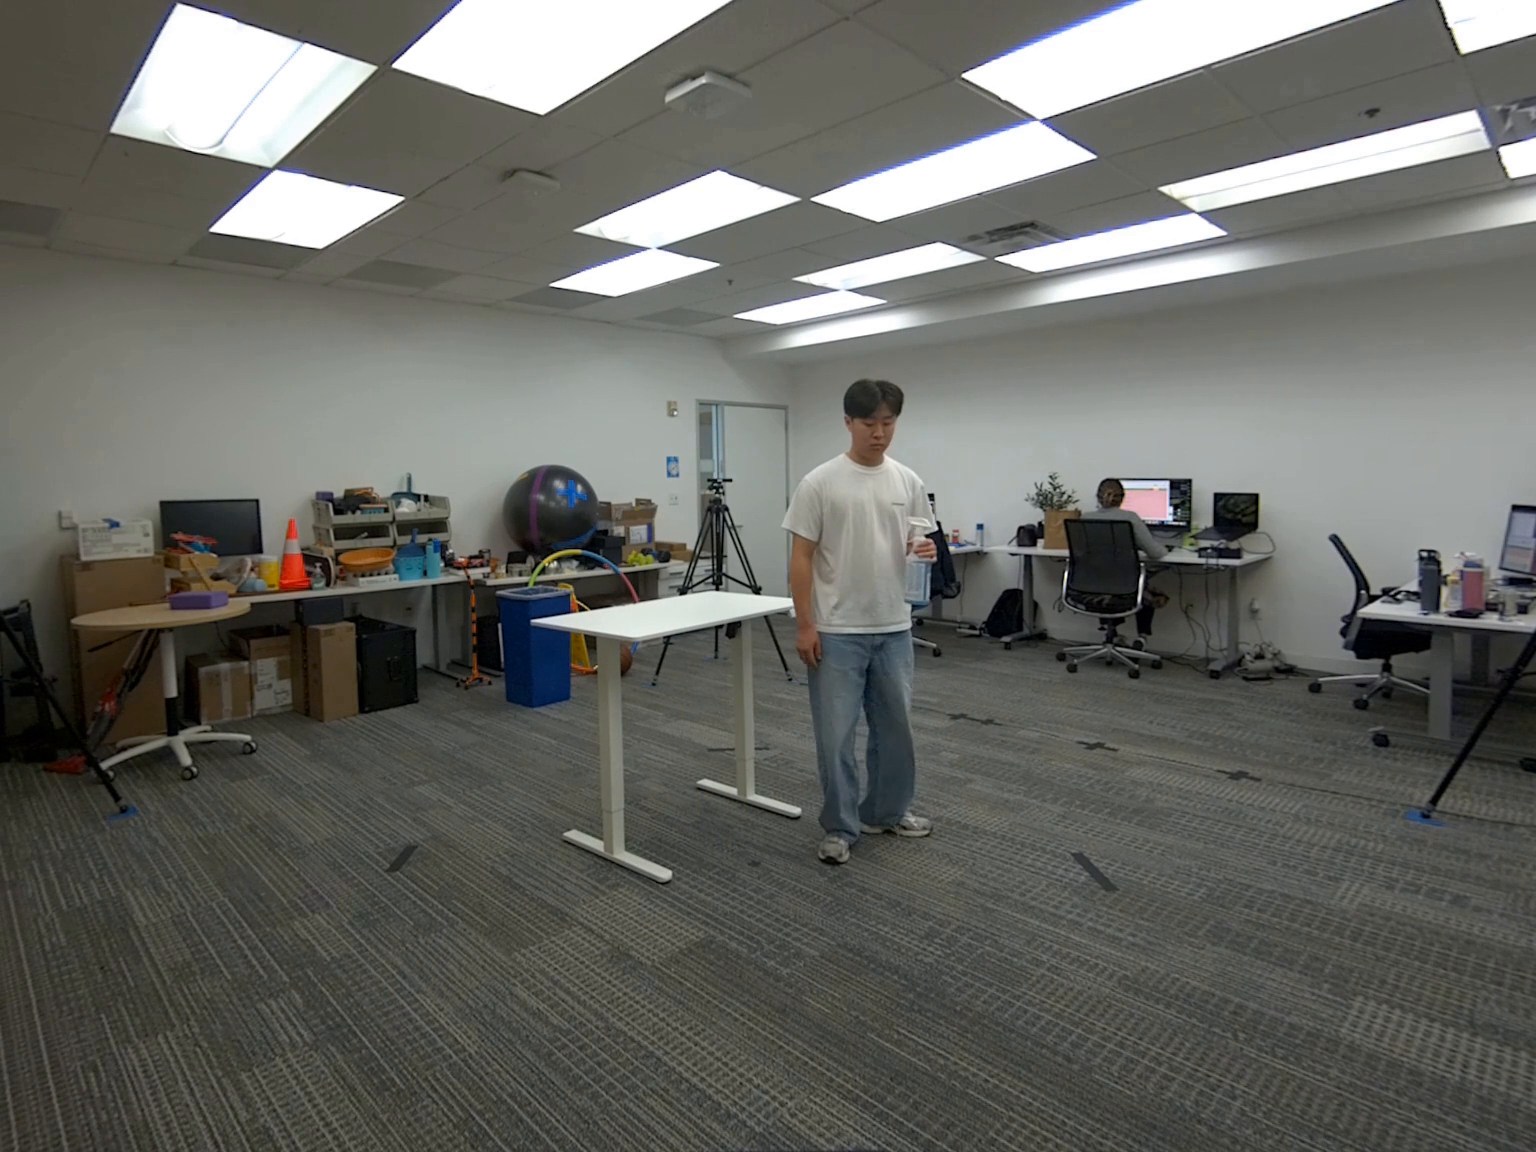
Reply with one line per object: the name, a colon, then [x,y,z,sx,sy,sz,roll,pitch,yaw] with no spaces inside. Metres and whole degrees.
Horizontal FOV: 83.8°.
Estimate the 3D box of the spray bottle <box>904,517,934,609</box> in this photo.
spray bottle: [0.527,-0.052,2.951,0.085,0.297,0.092,1,0,-28]
